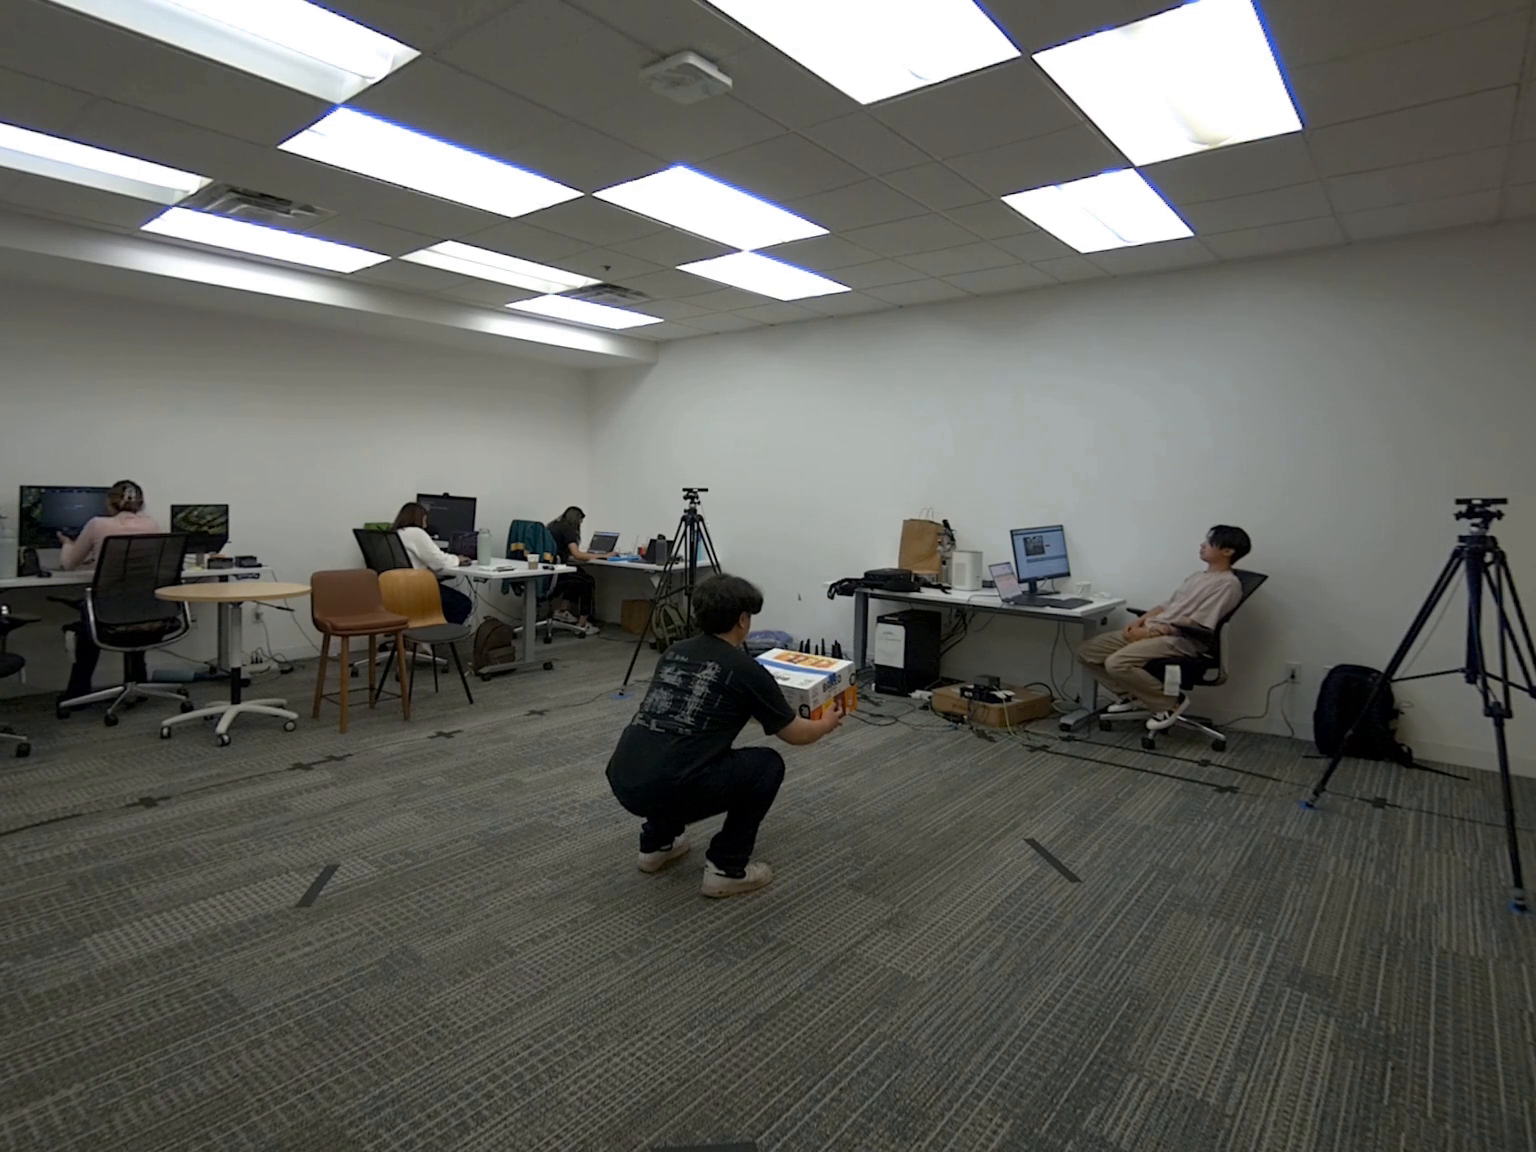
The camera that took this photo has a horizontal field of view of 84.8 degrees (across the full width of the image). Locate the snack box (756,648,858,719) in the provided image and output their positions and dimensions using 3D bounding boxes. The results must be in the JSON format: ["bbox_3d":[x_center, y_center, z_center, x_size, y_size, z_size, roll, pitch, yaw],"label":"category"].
[{"bbox_3d":[0.087,0.463,3.497,0.419,0.203,0.333,5,16,38],"label":"snack box"}]
